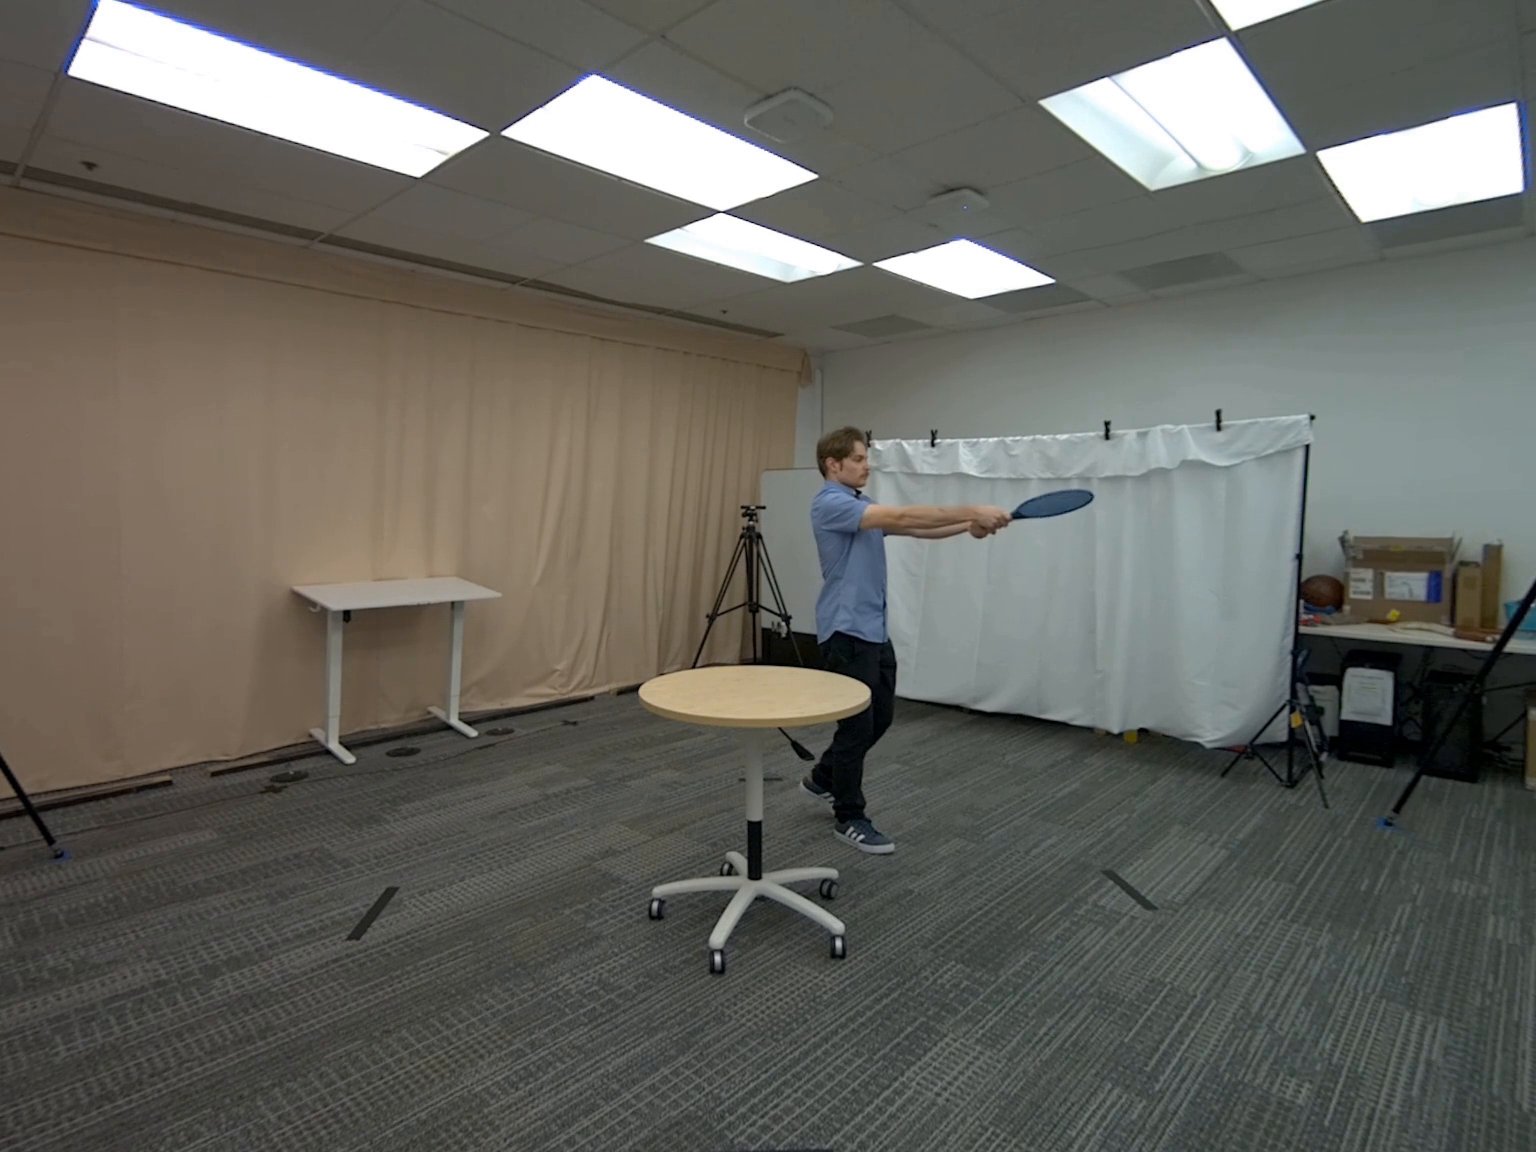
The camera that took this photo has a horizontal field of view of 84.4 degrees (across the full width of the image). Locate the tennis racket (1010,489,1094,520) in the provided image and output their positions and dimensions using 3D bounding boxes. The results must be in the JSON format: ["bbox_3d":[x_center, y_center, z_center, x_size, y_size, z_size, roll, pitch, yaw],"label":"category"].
[{"bbox_3d":[0.969,-0.234,3.044,0.443,0.032,0.206,-18,-26,39],"label":"tennis racket"}]
